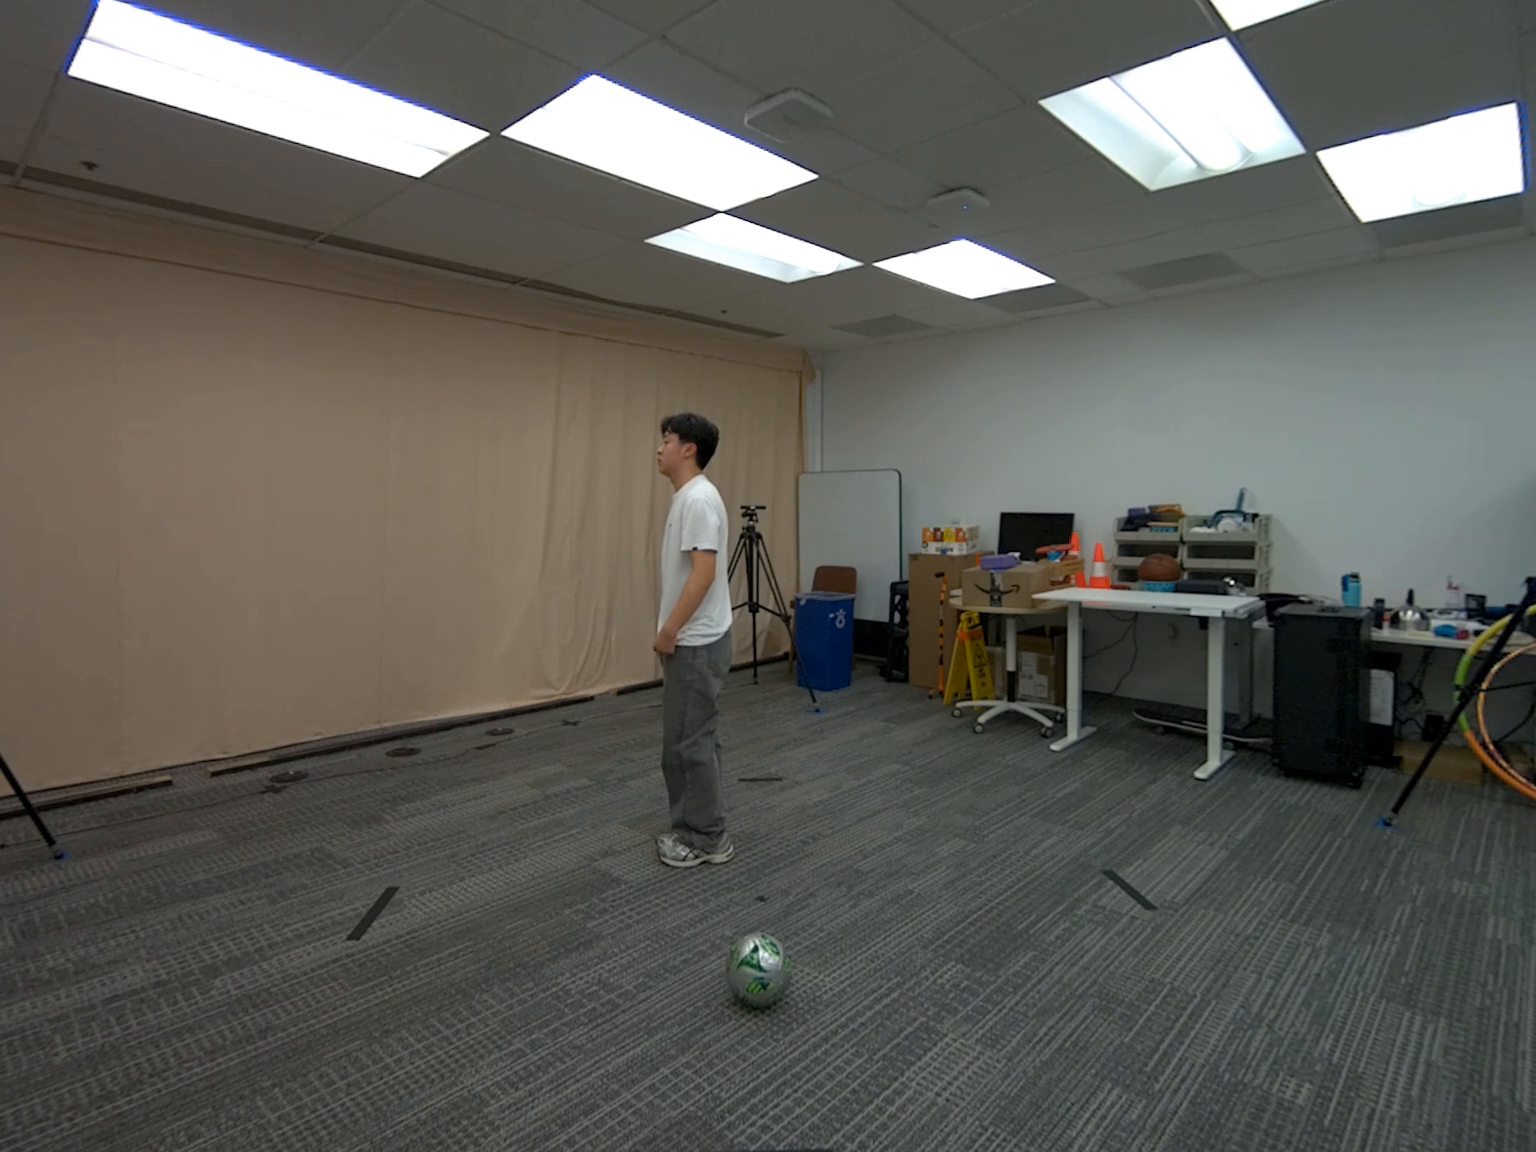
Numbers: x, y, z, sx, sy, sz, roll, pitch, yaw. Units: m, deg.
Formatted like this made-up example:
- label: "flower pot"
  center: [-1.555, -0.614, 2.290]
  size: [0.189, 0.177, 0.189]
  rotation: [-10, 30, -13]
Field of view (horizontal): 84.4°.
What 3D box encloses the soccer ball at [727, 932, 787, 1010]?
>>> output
- label: "soccer ball"
  center: [-0.018, 1.104, 2.359]
  size: [0.187, 0.187, 0.188]
  rotation: [0, 4, -2]
